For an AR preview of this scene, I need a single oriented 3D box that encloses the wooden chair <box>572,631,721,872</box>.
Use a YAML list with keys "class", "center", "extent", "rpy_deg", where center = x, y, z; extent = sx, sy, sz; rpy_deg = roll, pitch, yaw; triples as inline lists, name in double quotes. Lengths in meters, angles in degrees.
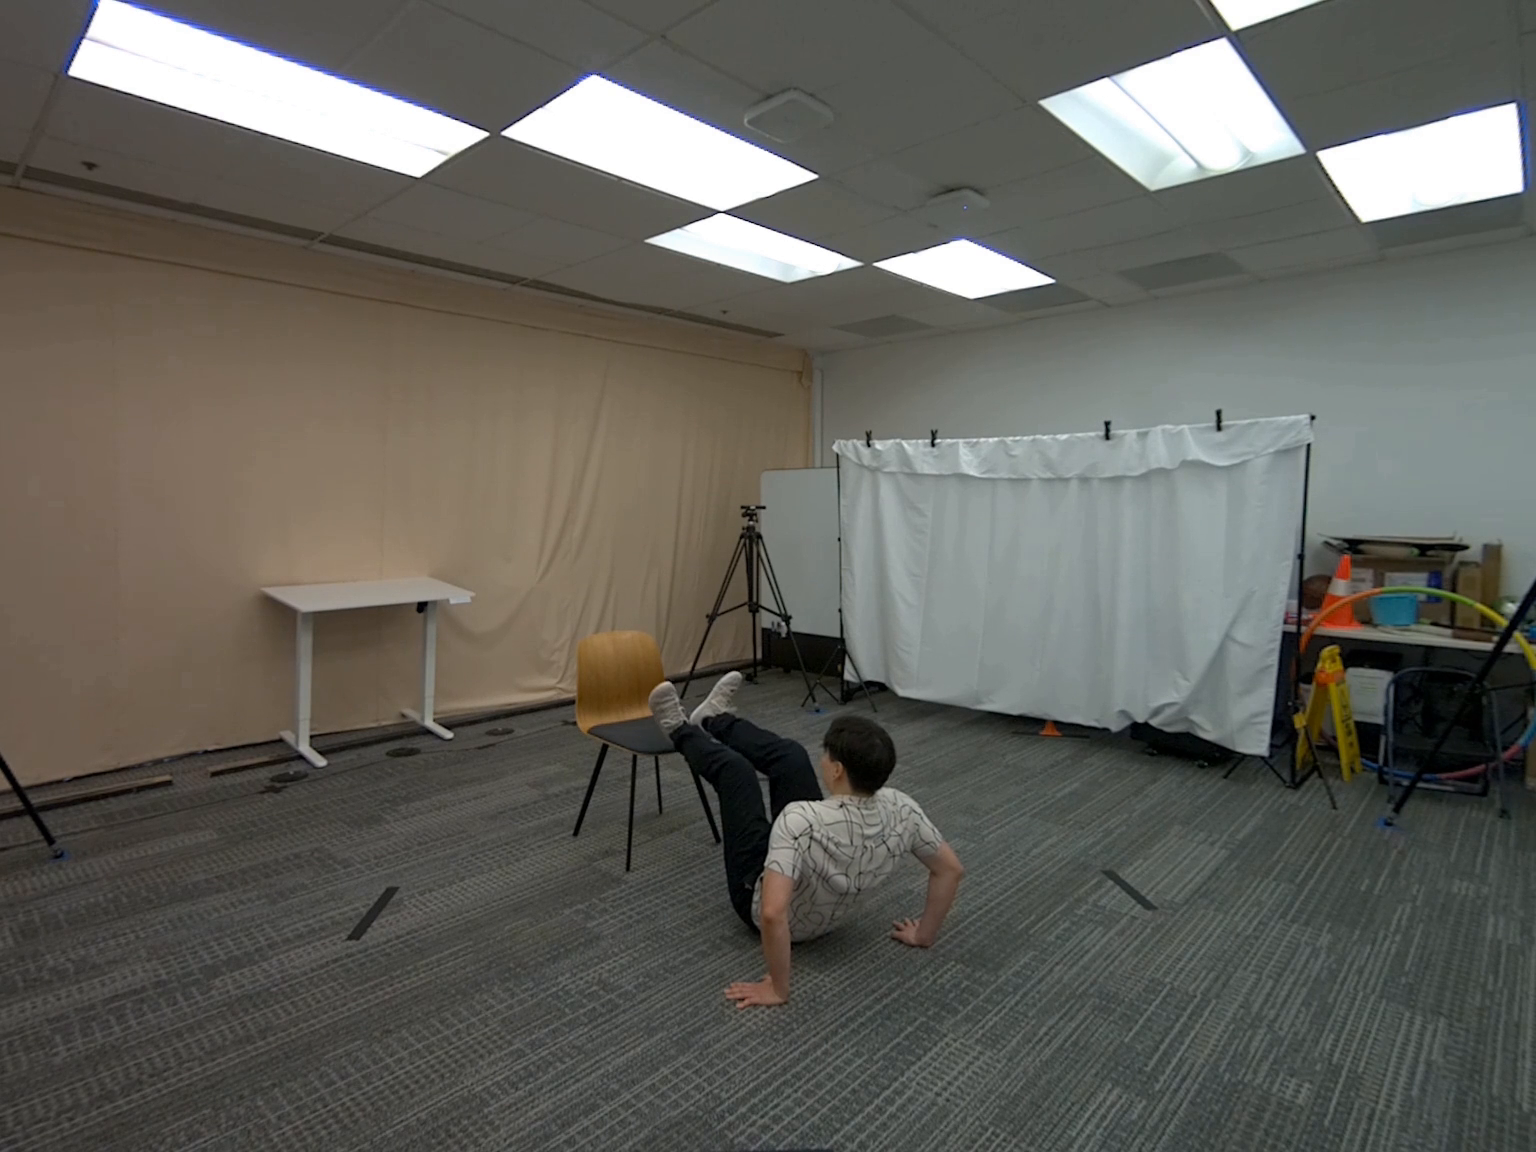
- class: "wooden chair"
  center: [-0.507, 0.677, 3.491]
  extent: [0.464, 0.878, 0.539]
  rpy_deg: [-3, -1, -39]
